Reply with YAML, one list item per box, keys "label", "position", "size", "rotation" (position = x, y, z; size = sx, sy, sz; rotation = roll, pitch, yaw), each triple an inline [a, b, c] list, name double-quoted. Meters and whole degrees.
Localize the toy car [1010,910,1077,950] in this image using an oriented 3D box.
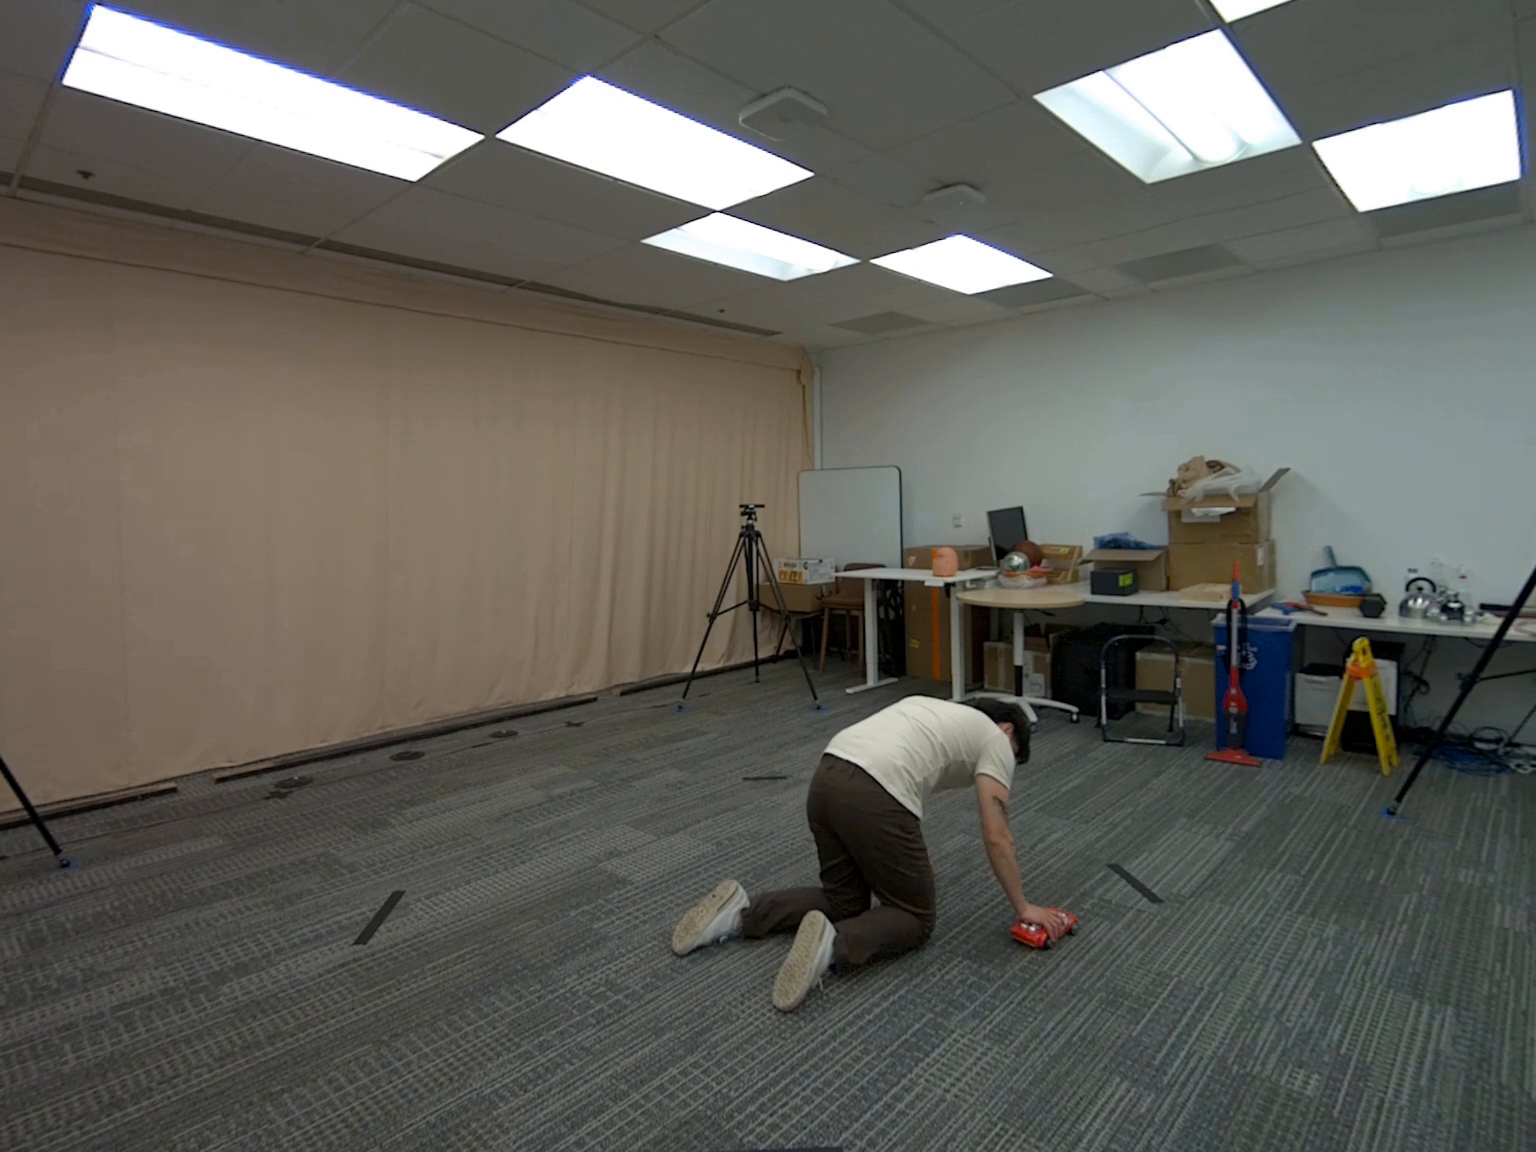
- label: "toy car"
  position: [0.884, 1.124, 2.668]
  size: [0.246, 0.083, 0.134]
  rotation: [6, 0, -37]
